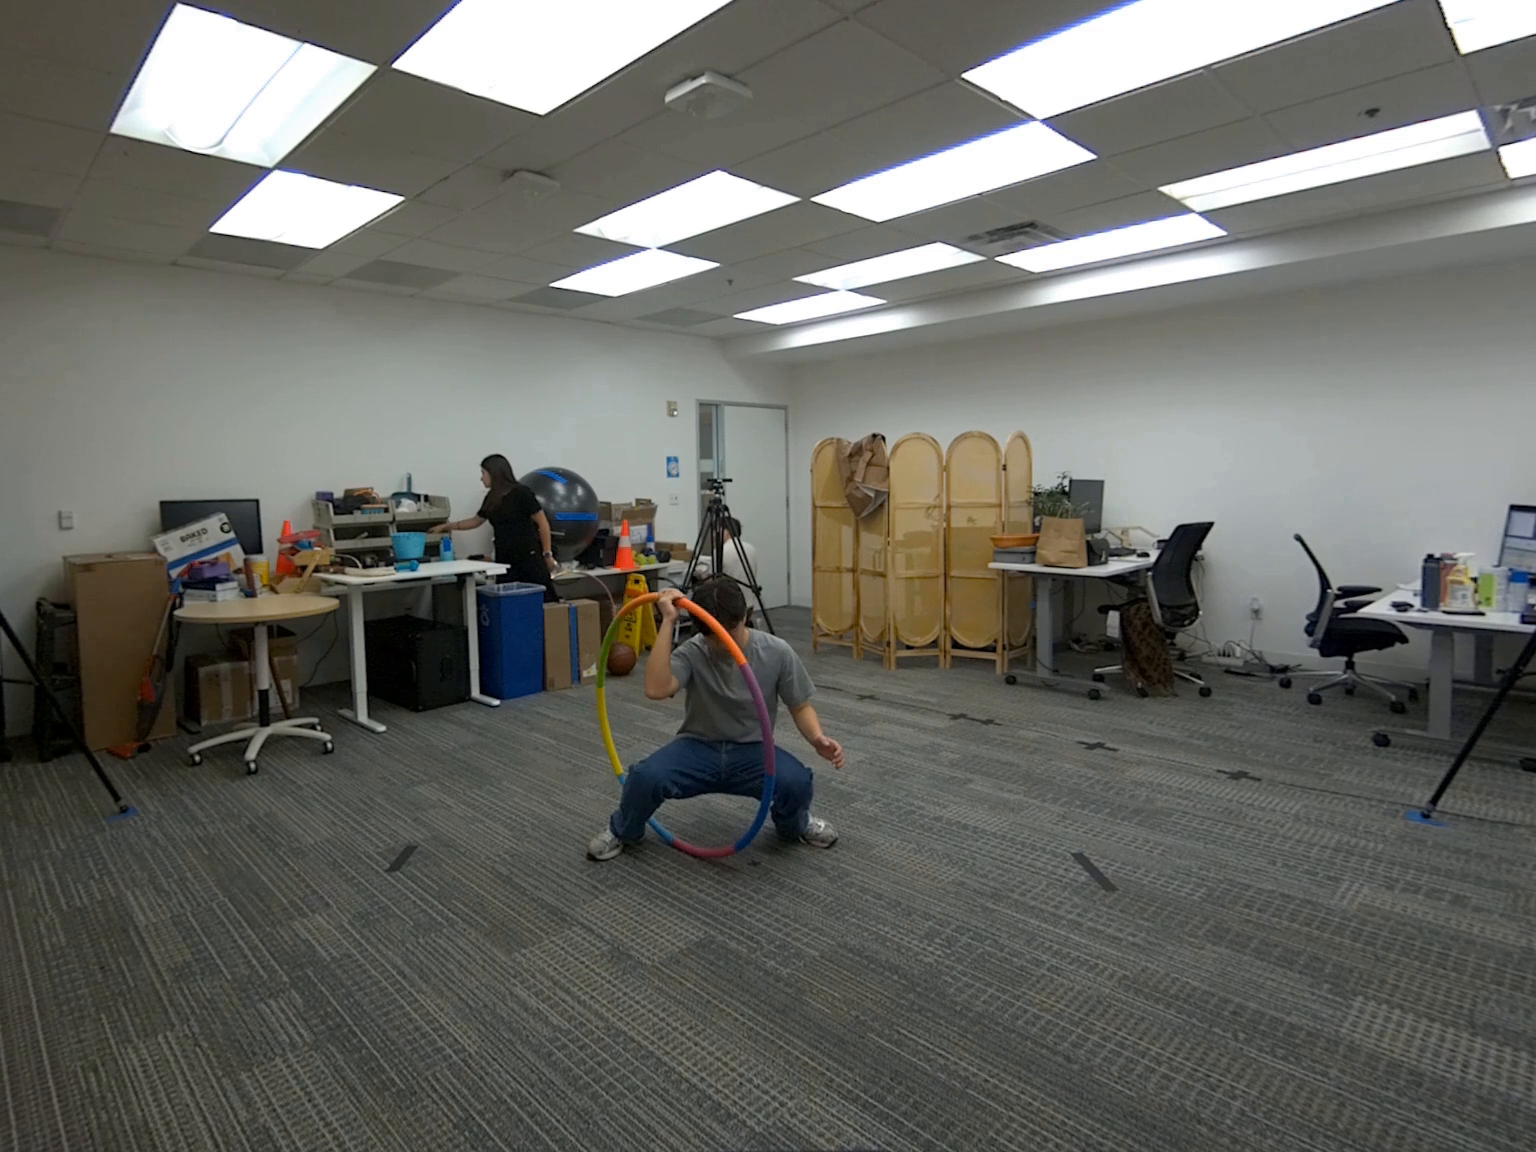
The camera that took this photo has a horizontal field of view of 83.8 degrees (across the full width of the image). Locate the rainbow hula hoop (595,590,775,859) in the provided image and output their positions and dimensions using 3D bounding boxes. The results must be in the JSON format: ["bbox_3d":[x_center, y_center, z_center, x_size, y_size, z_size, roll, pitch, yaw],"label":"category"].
[{"bbox_3d":[-0.340,0.548,3.157,0.035,0.972,1.009,-10,10,-43],"label":"rainbow hula hoop"}]
